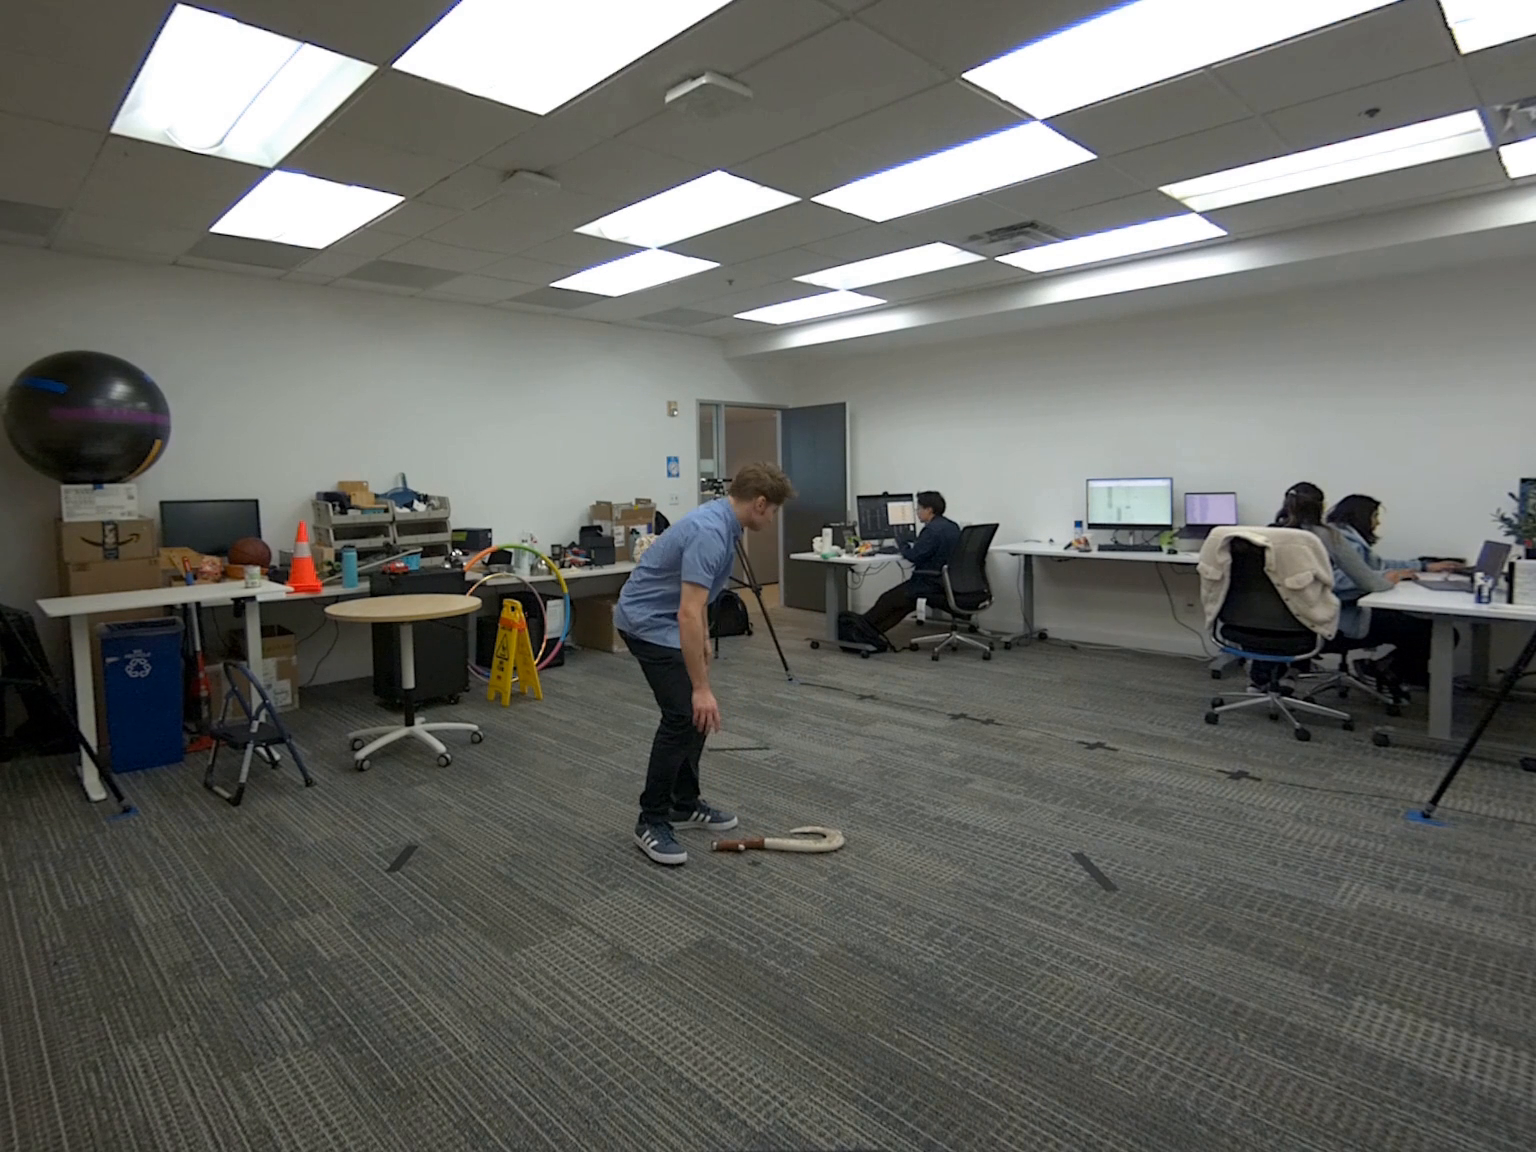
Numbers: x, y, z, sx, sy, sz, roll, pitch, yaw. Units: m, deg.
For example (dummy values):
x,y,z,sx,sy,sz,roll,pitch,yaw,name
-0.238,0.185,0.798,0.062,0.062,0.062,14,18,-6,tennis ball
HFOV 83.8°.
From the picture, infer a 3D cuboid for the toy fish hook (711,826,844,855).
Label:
x,y,z,sx,sy,sz,roll,pitch,yaw,name
0.036,1.005,3.269,0.506,0.048,0.224,0,-2,-2,toy fish hook
